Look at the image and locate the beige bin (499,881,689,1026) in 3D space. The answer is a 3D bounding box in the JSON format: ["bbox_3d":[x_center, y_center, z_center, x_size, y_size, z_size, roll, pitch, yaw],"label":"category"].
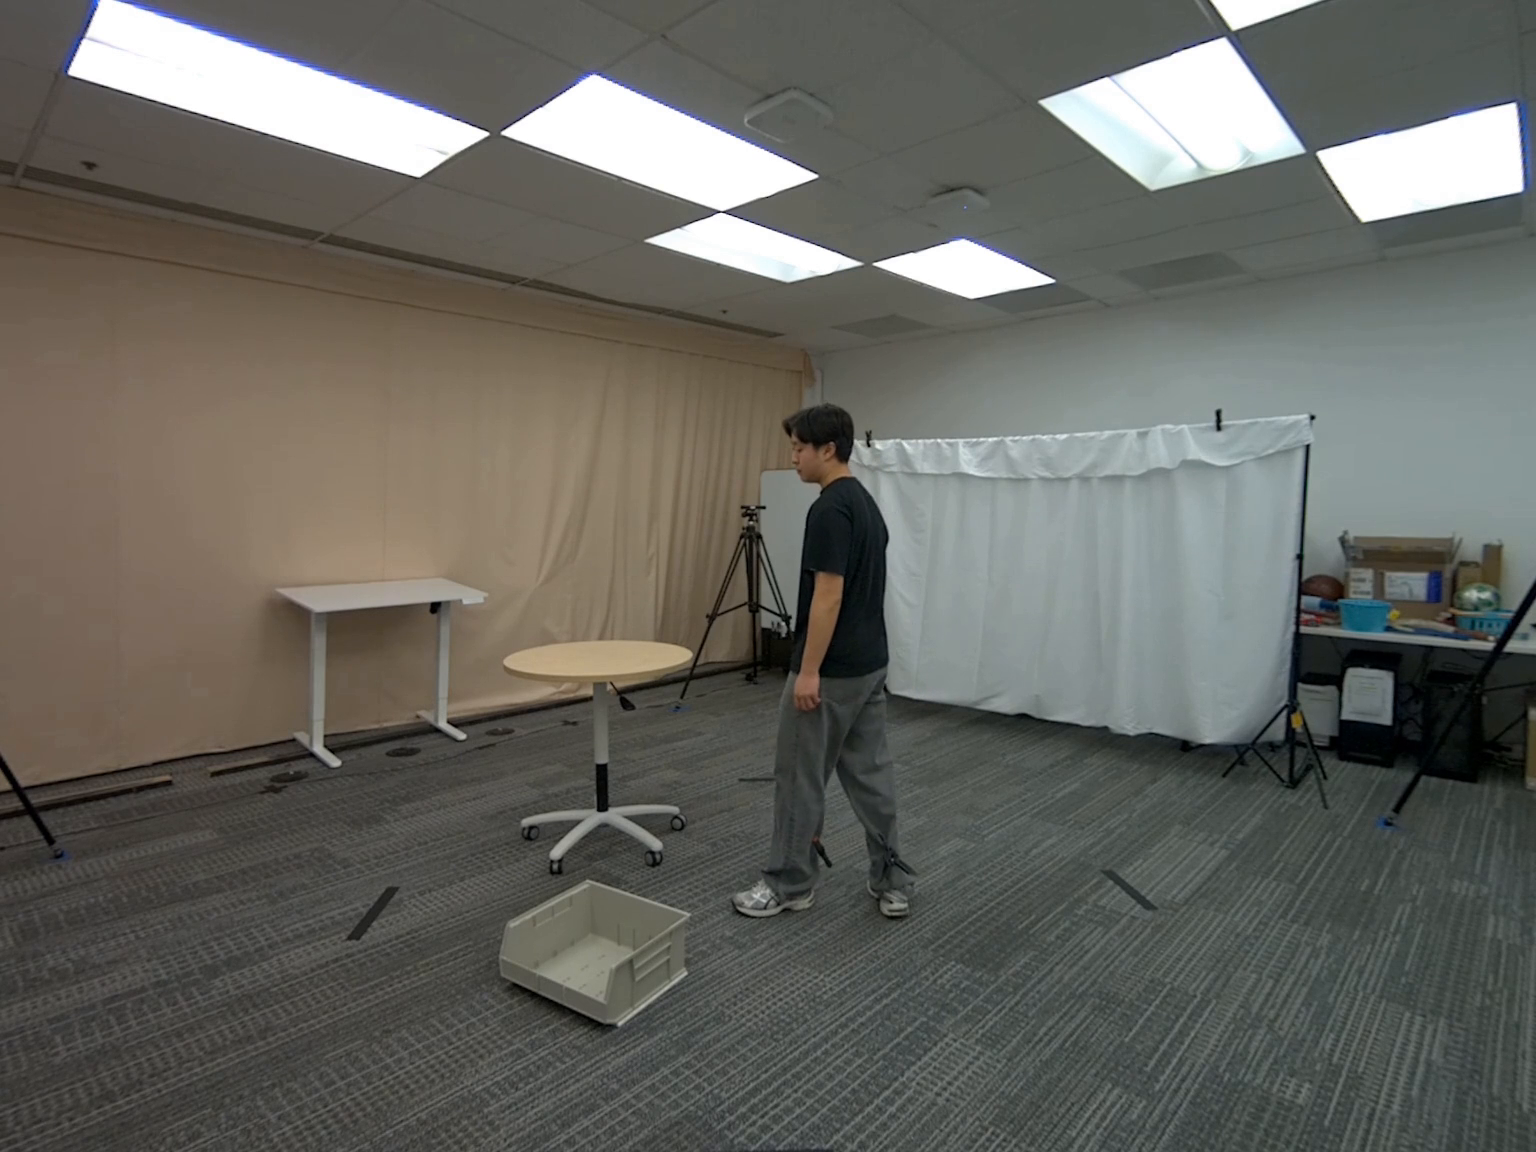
[{"bbox_3d":[-0.501,1.100,2.471,0.435,0.188,0.366,2,4,33],"label":"beige bin"}]
